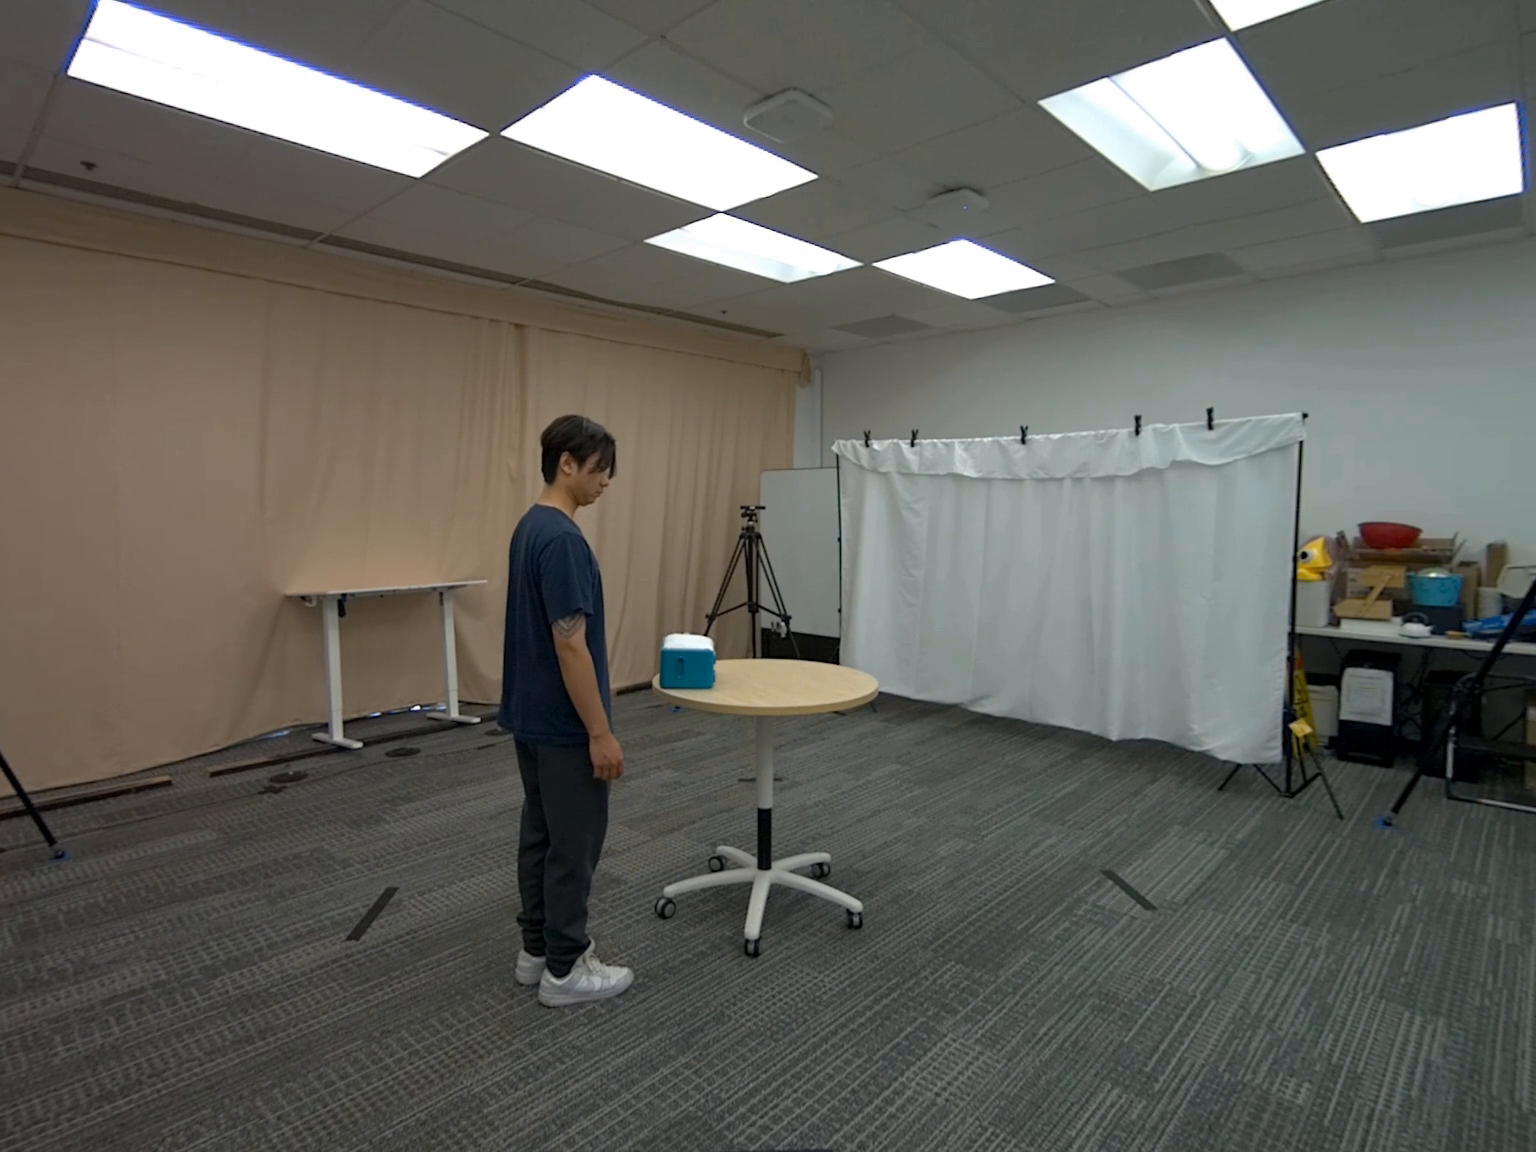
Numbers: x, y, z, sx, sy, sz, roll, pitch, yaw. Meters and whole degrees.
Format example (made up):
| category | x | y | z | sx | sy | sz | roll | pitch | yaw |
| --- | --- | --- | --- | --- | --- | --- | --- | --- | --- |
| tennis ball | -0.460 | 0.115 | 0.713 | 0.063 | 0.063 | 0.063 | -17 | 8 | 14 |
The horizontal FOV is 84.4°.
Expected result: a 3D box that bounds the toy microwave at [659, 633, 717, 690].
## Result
| category | x | y | z | sx | sy | sz | roll | pitch | yaw |
| --- | --- | --- | --- | --- | --- | --- | --- | --- | --- |
| toy microwave | -0.261 | 0.282 | 2.858 | 0.184 | 0.152 | 0.288 | 2 | 5 | -3 |
